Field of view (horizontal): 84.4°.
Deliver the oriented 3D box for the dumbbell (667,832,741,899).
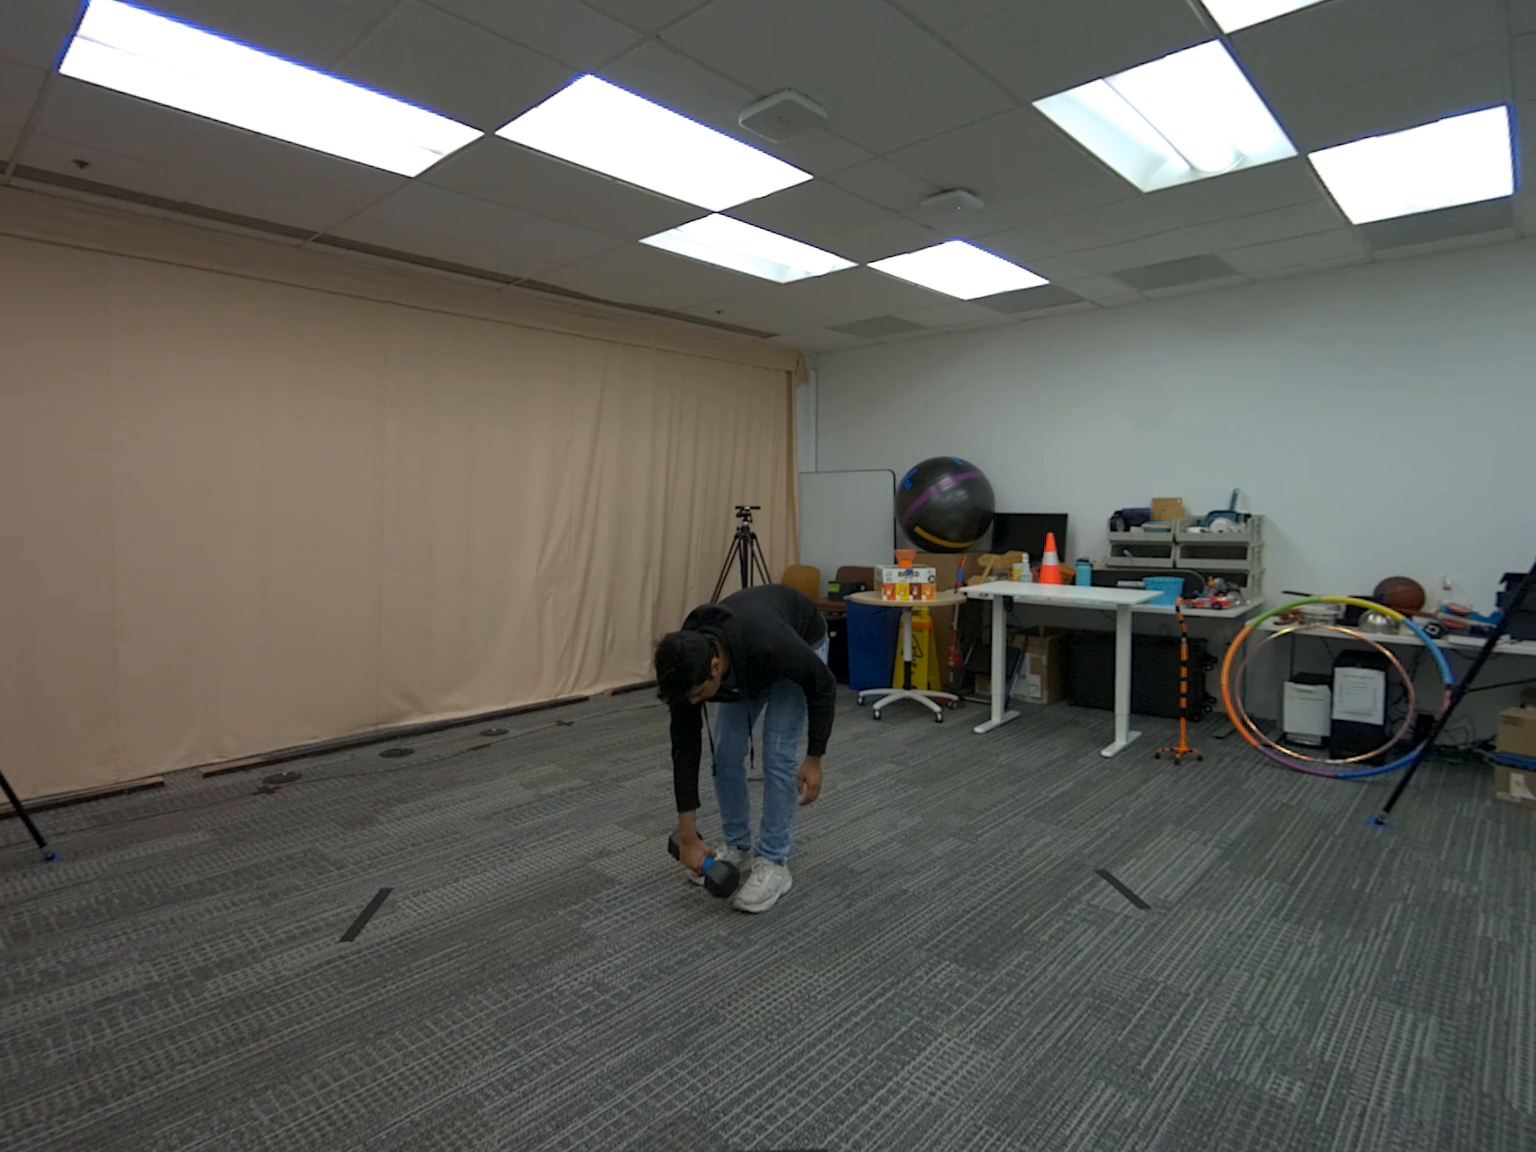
[{"bbox_3d":[-0.218,0.970,2.915,0.105,0.122,0.304,-9,24,-42],"label":"dumbbell"}]
